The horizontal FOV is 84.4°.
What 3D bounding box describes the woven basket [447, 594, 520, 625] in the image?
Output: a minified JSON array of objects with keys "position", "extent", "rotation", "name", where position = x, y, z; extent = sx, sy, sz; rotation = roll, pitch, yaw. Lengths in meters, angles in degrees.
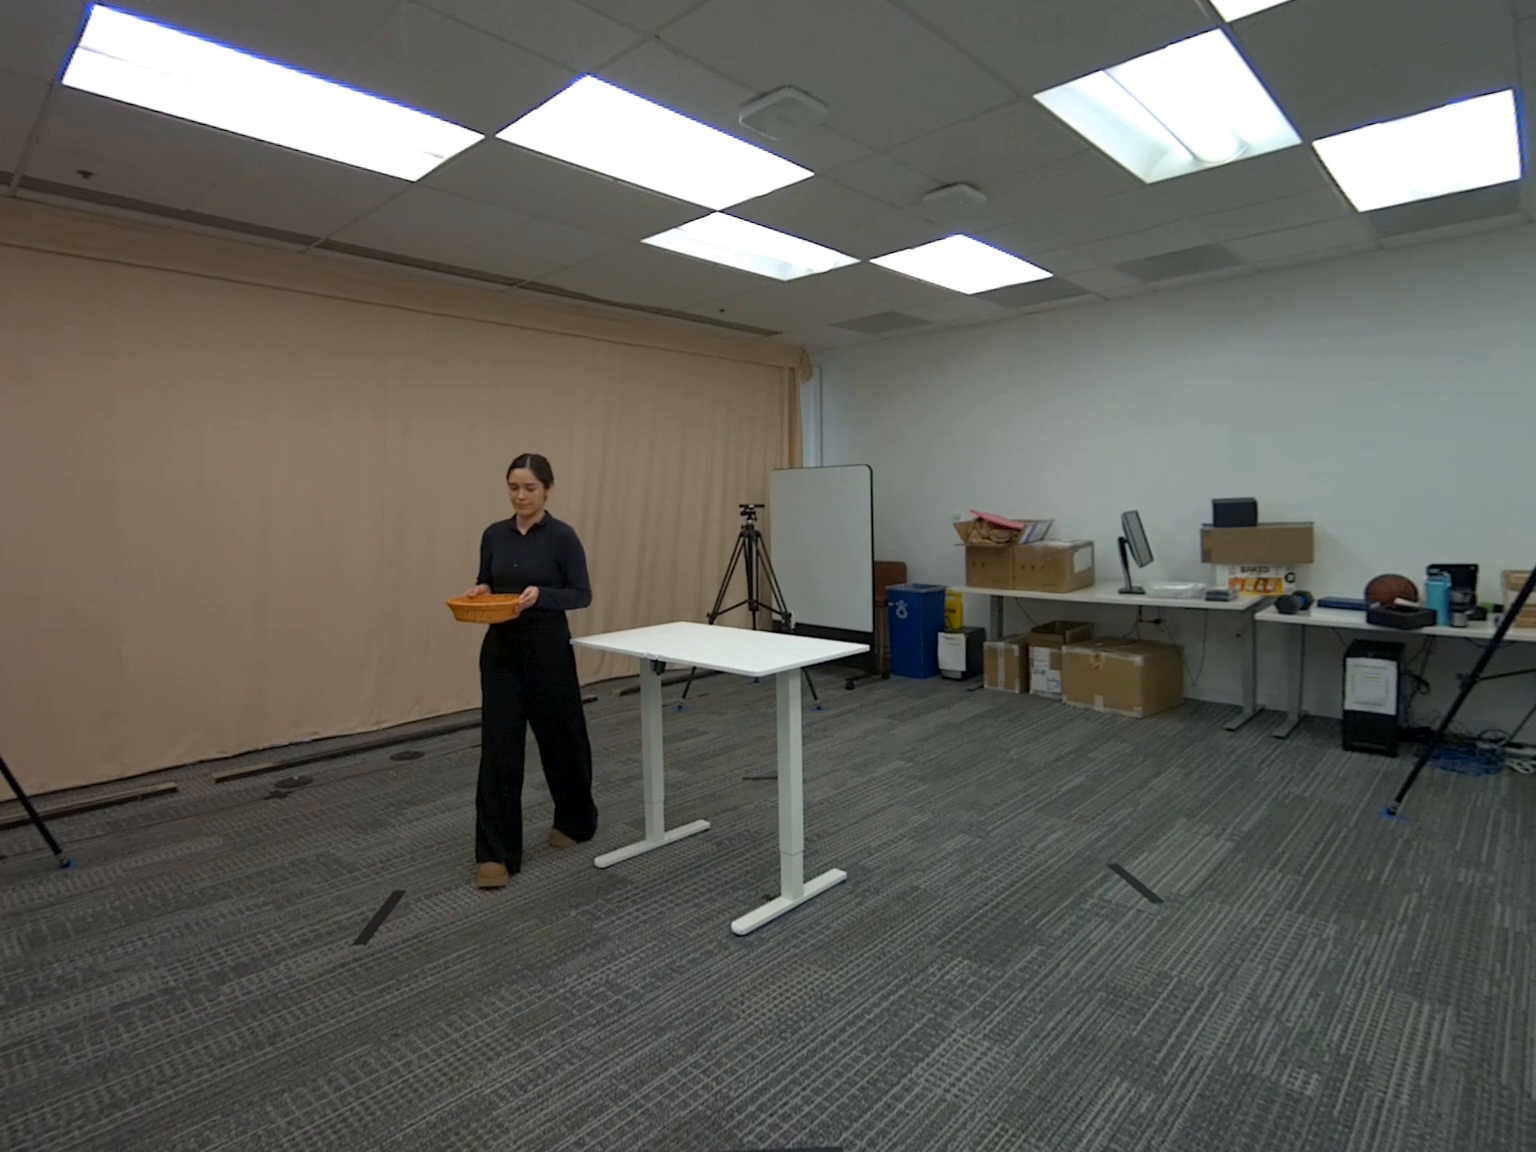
[{"position":[-1.032,0.115,3.066],"extent":[0.254,0.073,0.349],"rotation":[1,5,5],"name":"woven basket"}]
